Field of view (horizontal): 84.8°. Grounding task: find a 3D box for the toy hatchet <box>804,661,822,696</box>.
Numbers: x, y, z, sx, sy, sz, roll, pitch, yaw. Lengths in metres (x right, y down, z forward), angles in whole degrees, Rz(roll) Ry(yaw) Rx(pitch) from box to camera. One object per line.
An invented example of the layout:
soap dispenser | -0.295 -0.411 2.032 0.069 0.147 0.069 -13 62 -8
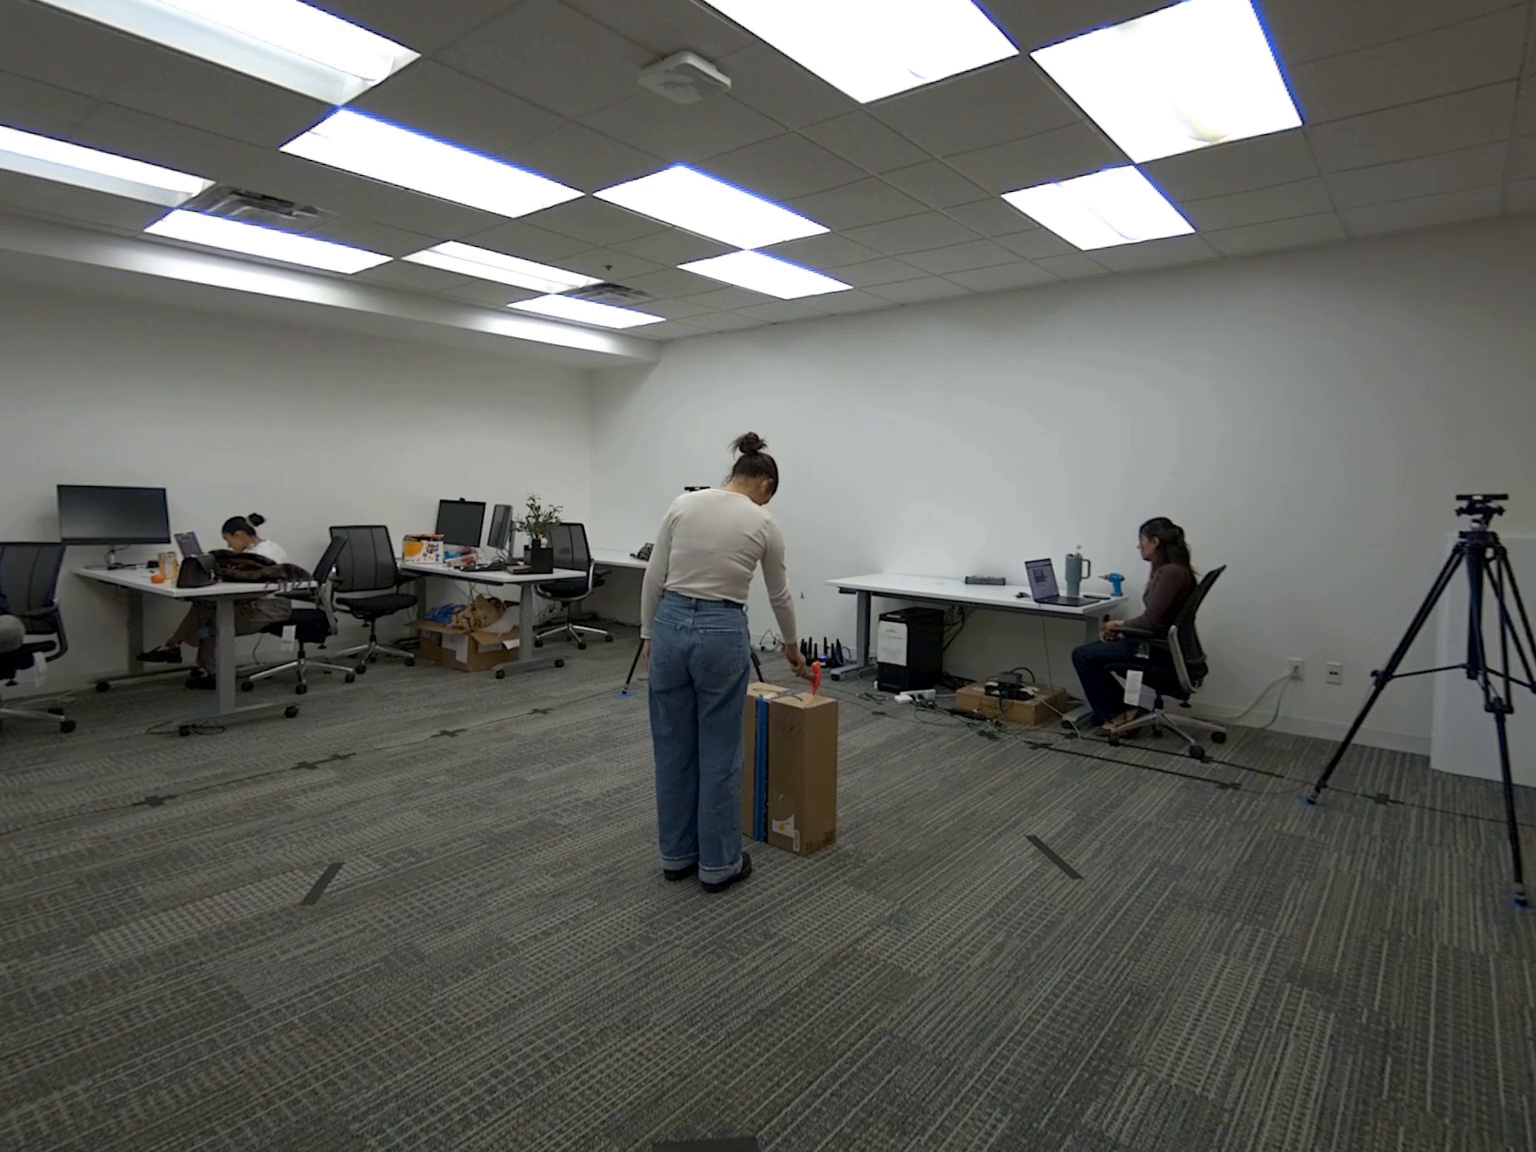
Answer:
toy hatchet | 0.150 0.356 3.338 0.030 0.133 0.259 4 -30 26
